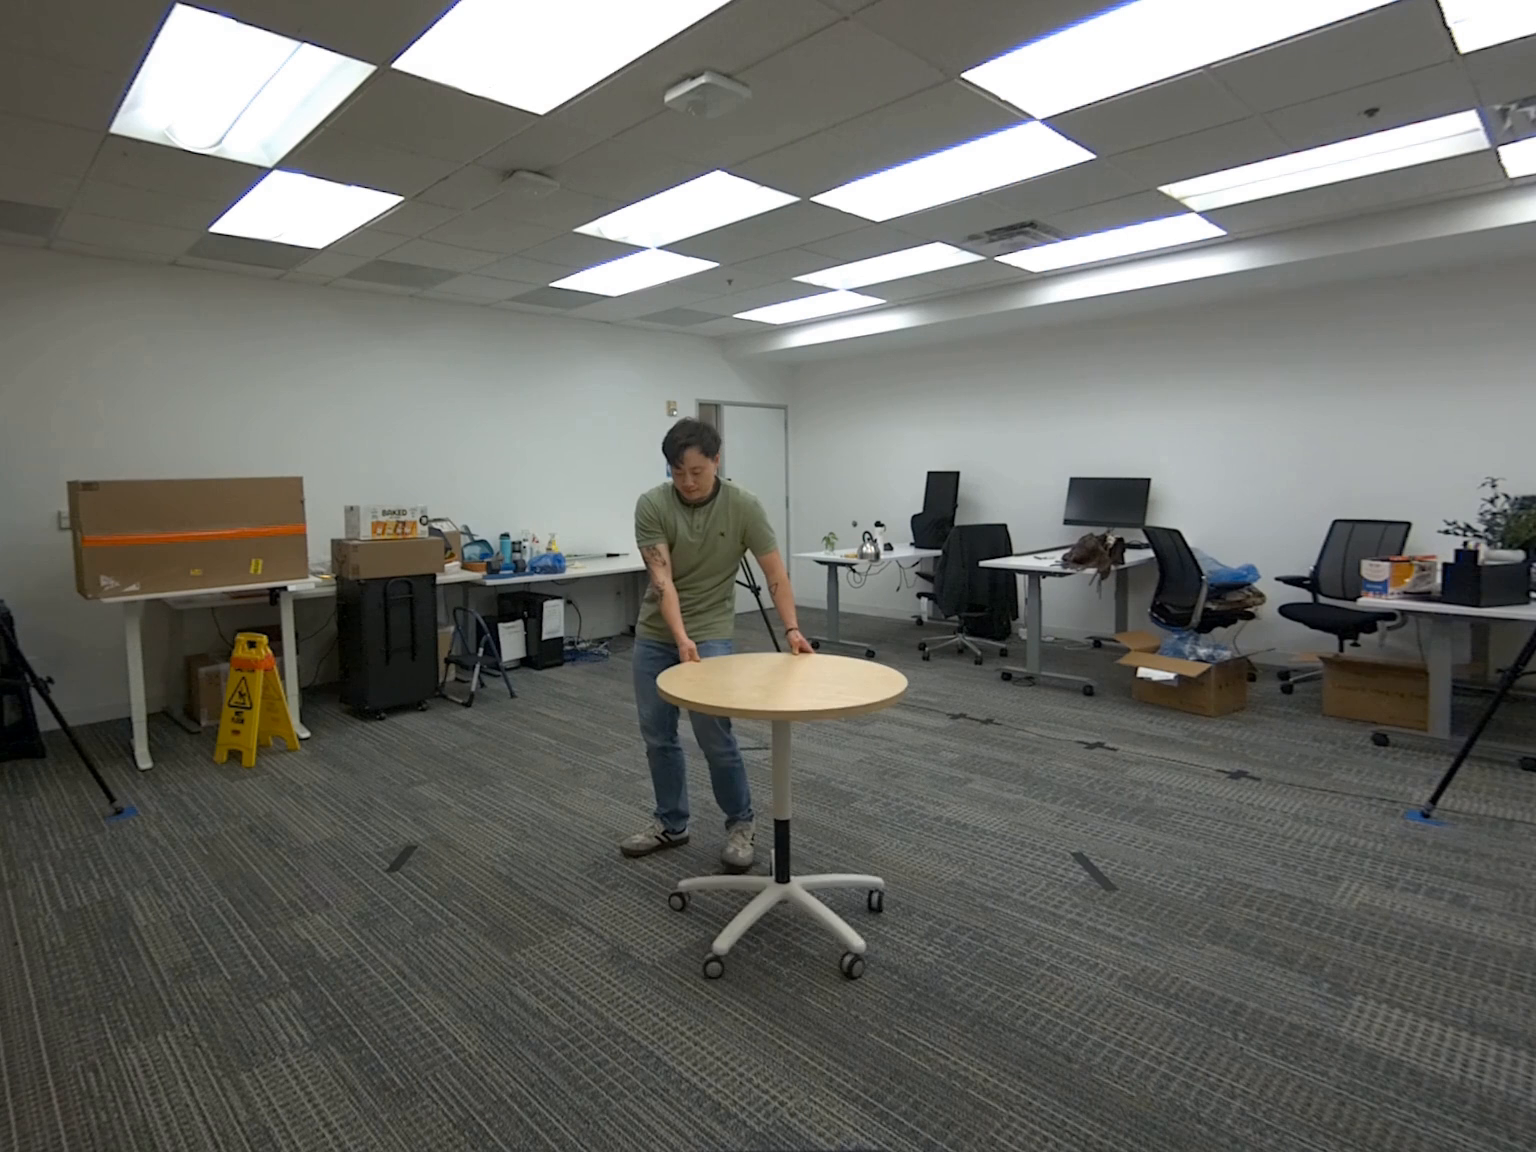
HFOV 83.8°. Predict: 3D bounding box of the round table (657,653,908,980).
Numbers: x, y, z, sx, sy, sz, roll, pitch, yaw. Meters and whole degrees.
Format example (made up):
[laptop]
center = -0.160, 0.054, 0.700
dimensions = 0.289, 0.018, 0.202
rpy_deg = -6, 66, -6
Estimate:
[round table]
center = 0.042, 0.705, 2.660
dimensions = 0.763, 0.791, 0.768
rpy_deg = -1, 5, -2
